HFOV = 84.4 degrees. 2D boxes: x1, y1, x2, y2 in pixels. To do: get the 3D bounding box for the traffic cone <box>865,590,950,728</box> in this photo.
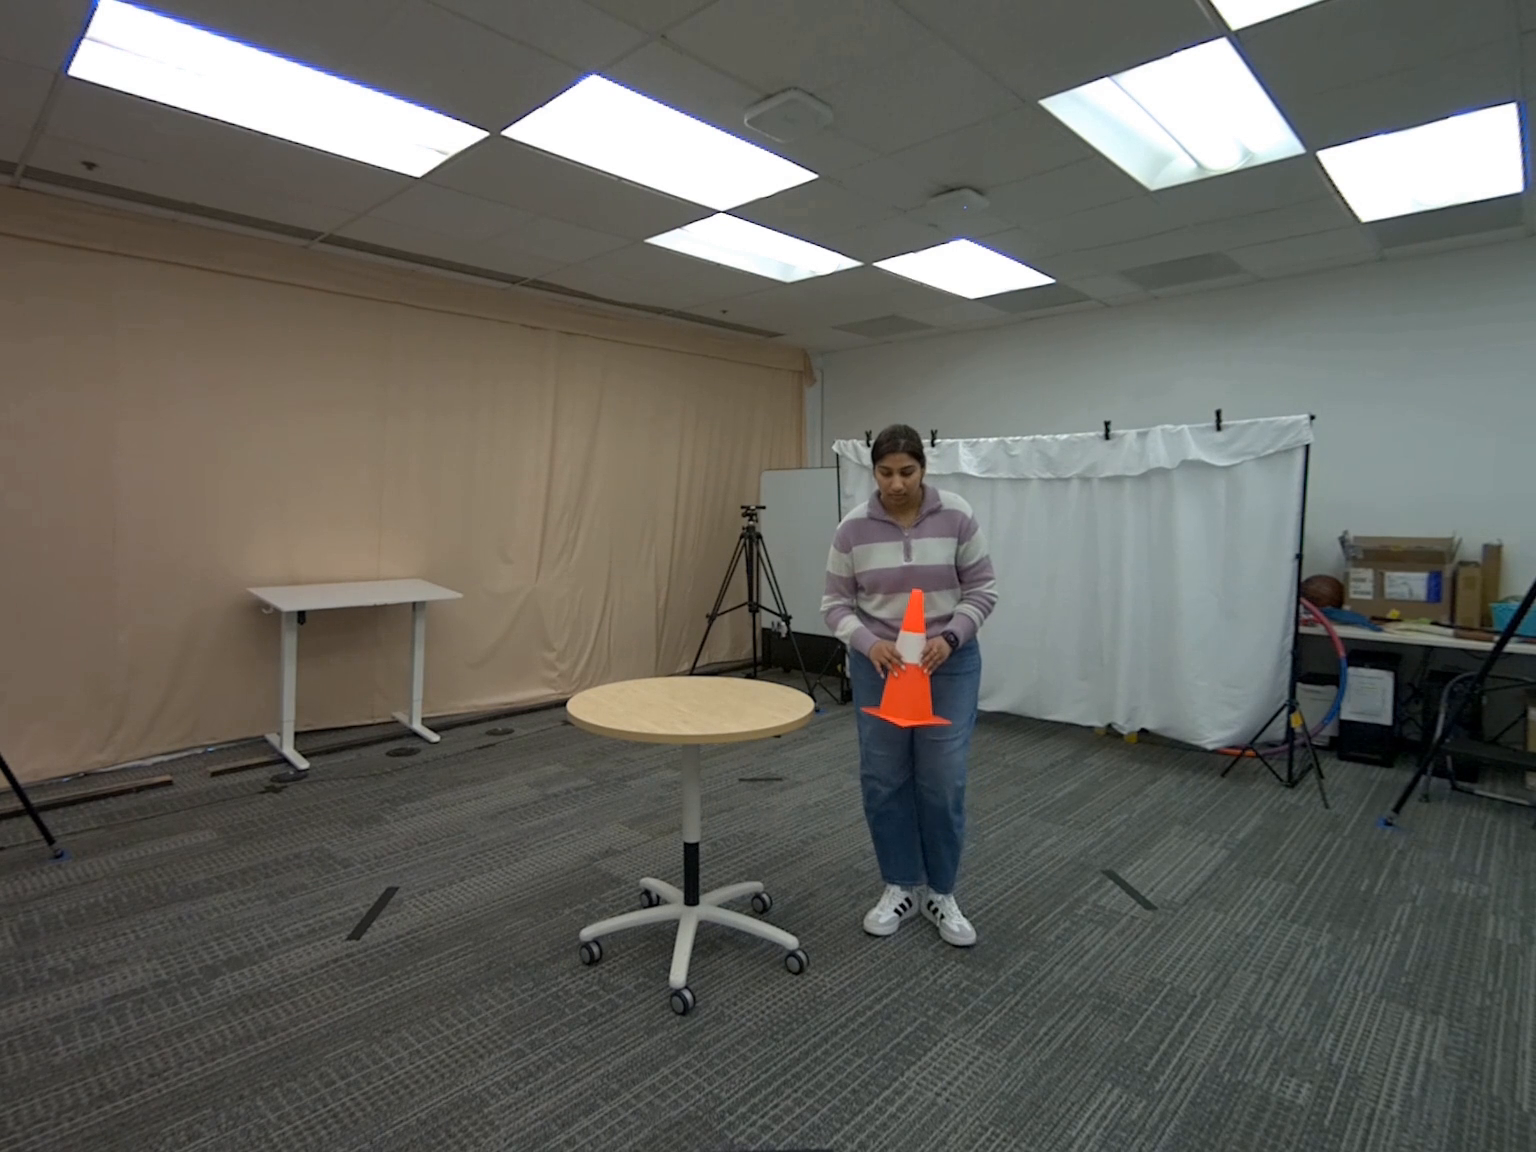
[{"bbox_3d":[0.426,0.234,2.530,0.197,0.383,0.212,1,2,-42],"label":"traffic cone"}]
